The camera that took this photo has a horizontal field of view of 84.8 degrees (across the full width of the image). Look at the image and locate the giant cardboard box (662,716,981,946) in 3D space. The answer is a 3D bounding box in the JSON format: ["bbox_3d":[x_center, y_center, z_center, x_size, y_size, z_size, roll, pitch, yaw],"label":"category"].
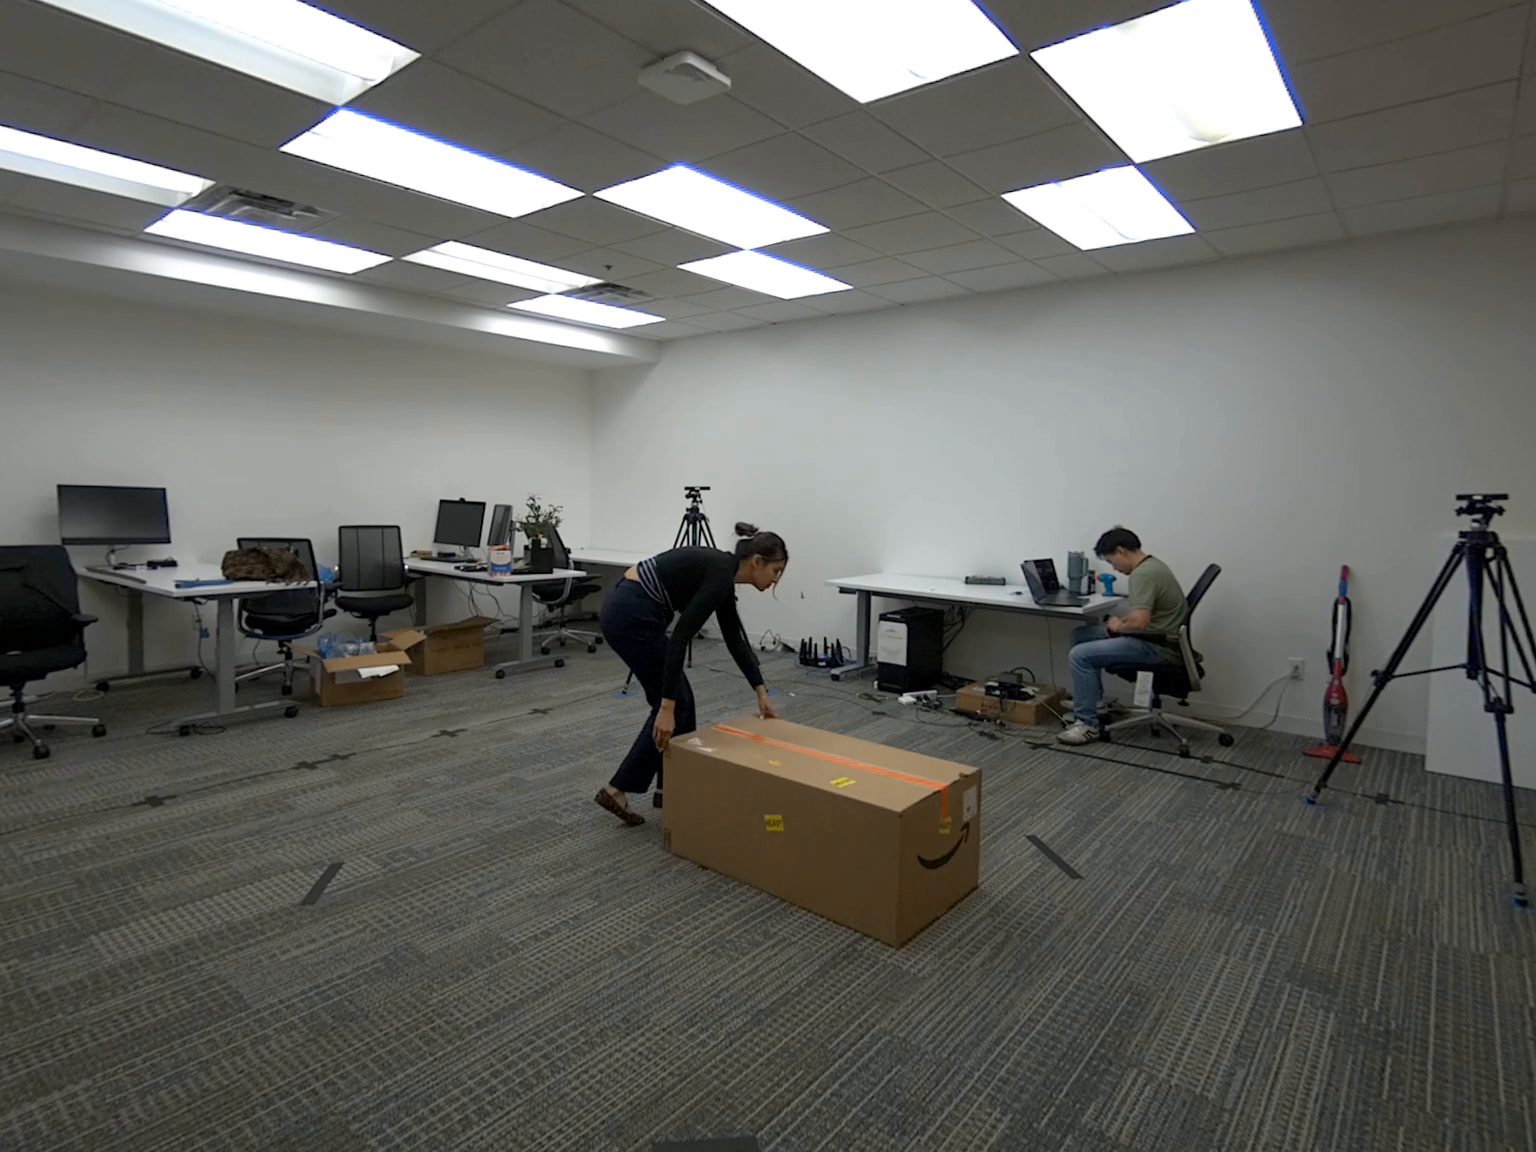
[{"bbox_3d":[0.163,0.856,3.119,1.061,0.424,0.561,6,7,40],"label":"giant cardboard box"}]
